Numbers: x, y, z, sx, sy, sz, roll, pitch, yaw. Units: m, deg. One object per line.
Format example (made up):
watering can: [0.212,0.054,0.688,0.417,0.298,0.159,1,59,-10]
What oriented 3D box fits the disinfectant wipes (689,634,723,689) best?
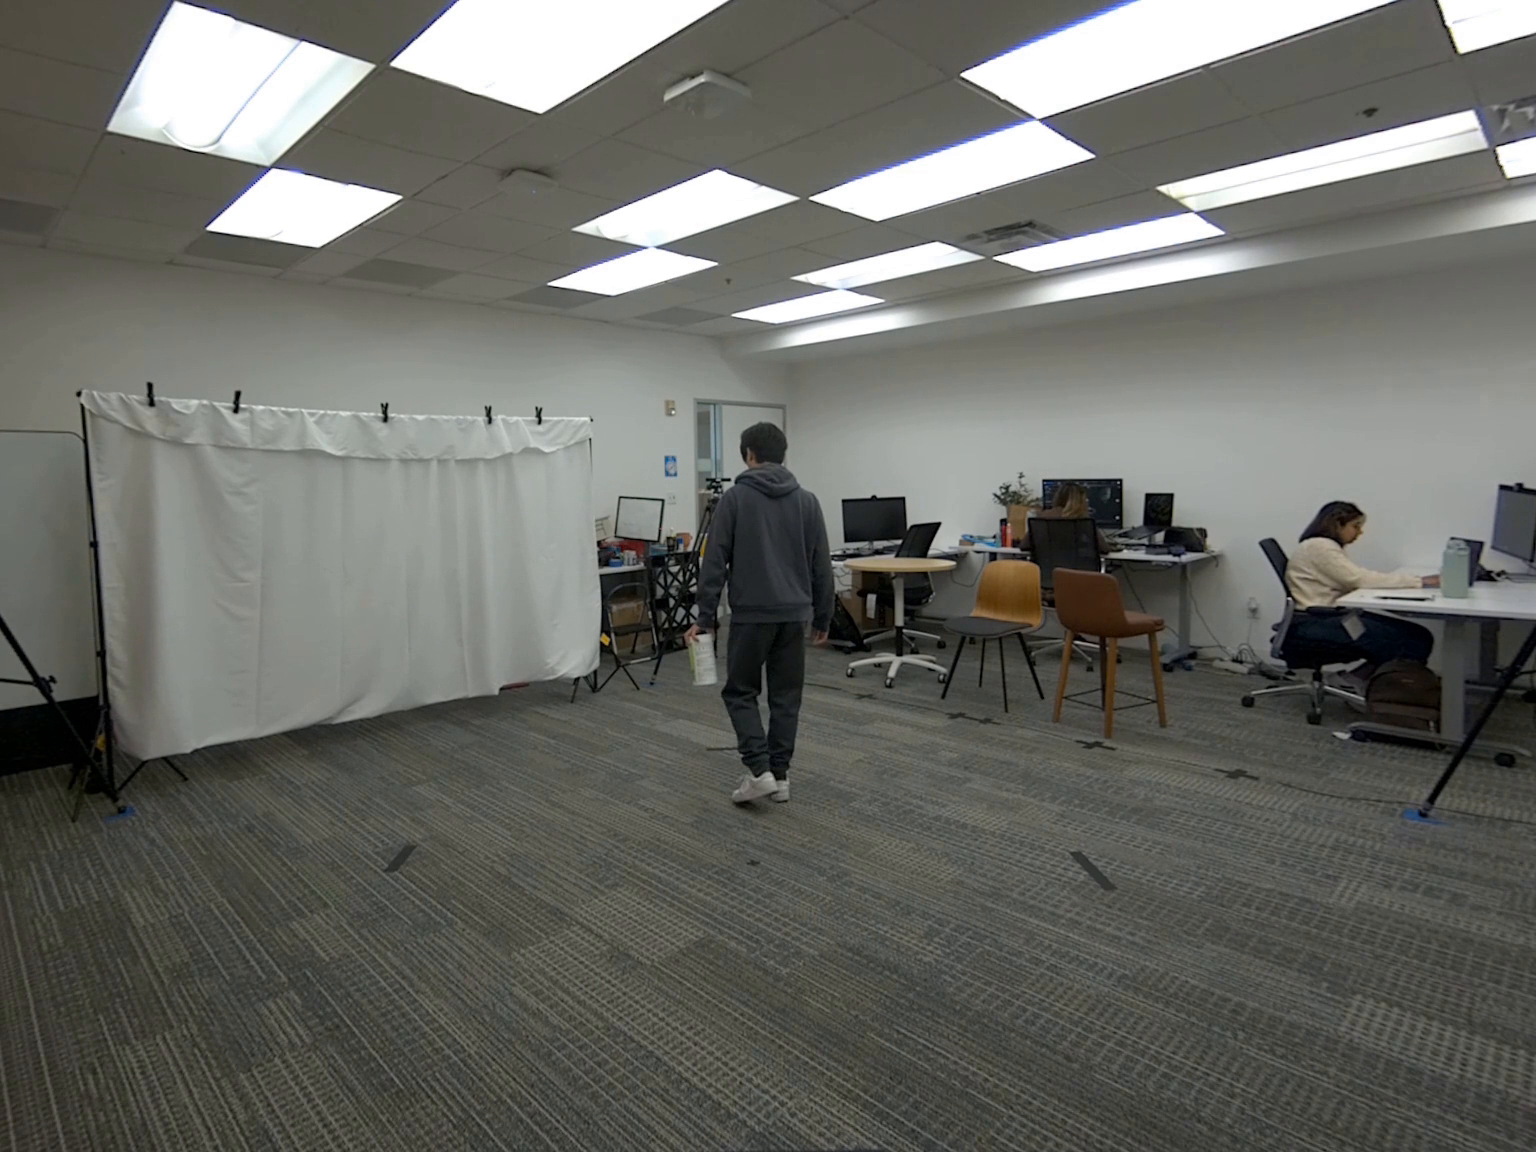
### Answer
disinfectant wipes: [-0.271,0.364,3.694,0.117,0.219,0.117,-6,-6,-2]
